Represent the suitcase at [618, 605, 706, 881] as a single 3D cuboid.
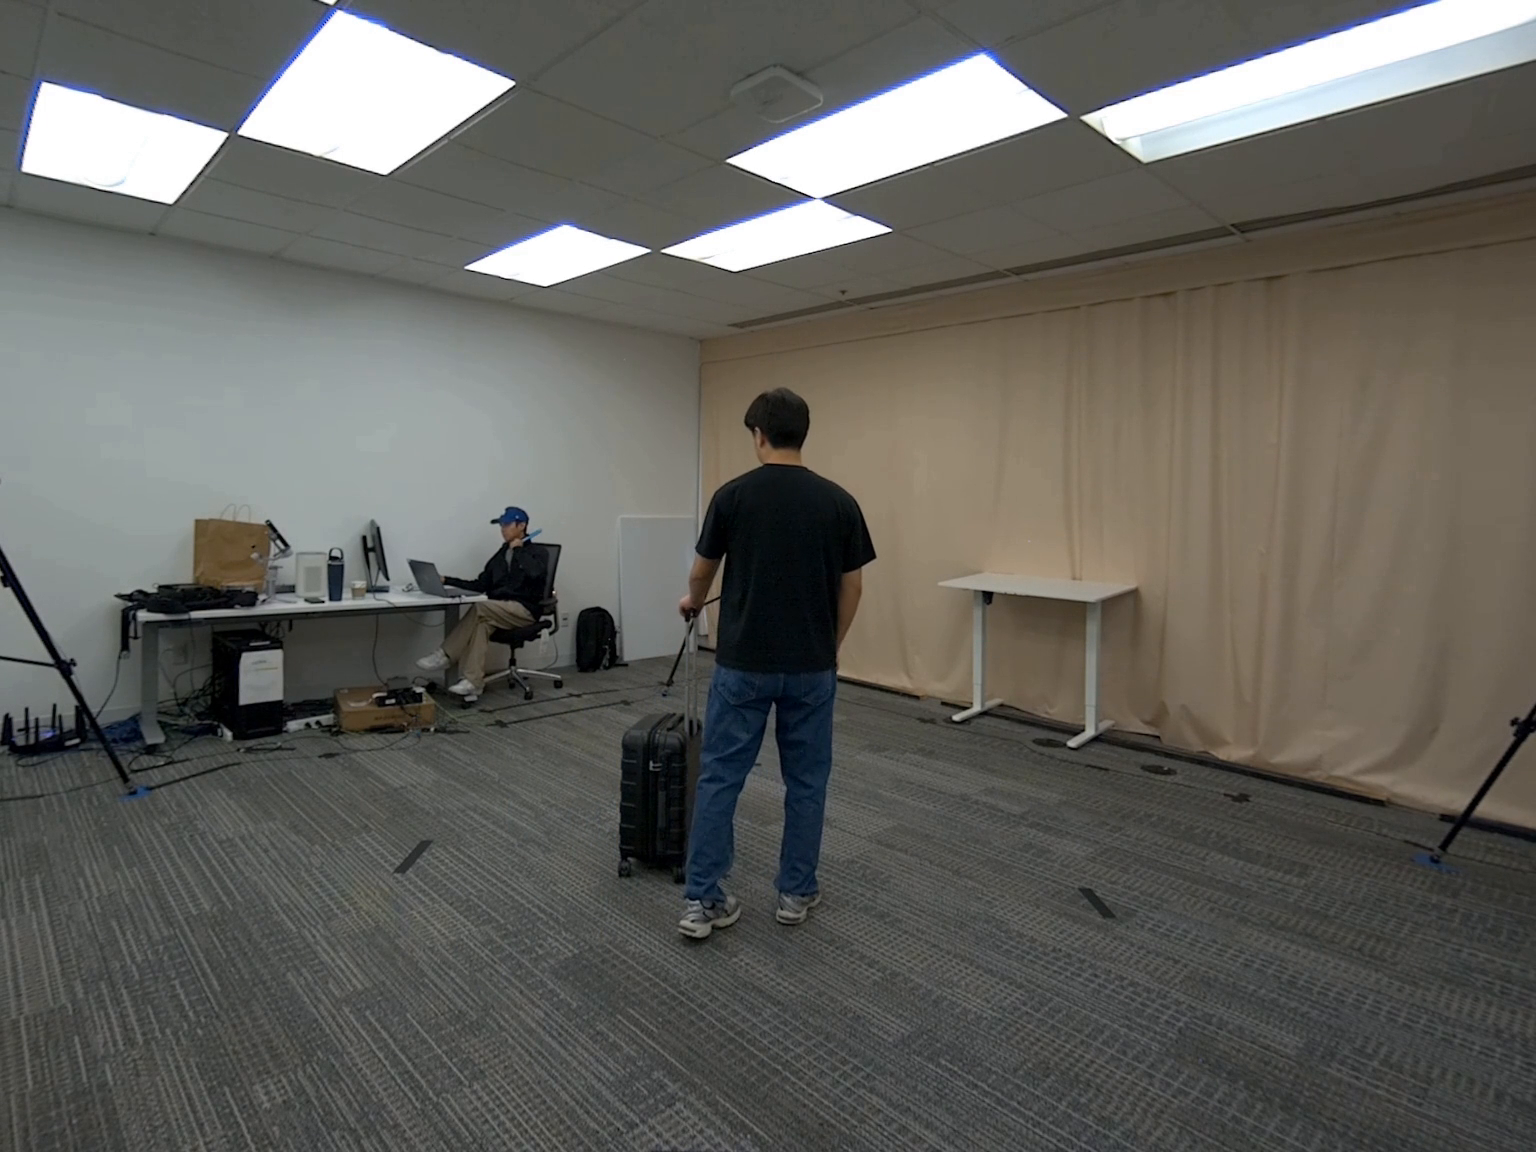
[{"bbox_3d":[-0.409,0.616,3.213,0.259,0.977,0.381,1,2,10],"label":"suitcase"}]
